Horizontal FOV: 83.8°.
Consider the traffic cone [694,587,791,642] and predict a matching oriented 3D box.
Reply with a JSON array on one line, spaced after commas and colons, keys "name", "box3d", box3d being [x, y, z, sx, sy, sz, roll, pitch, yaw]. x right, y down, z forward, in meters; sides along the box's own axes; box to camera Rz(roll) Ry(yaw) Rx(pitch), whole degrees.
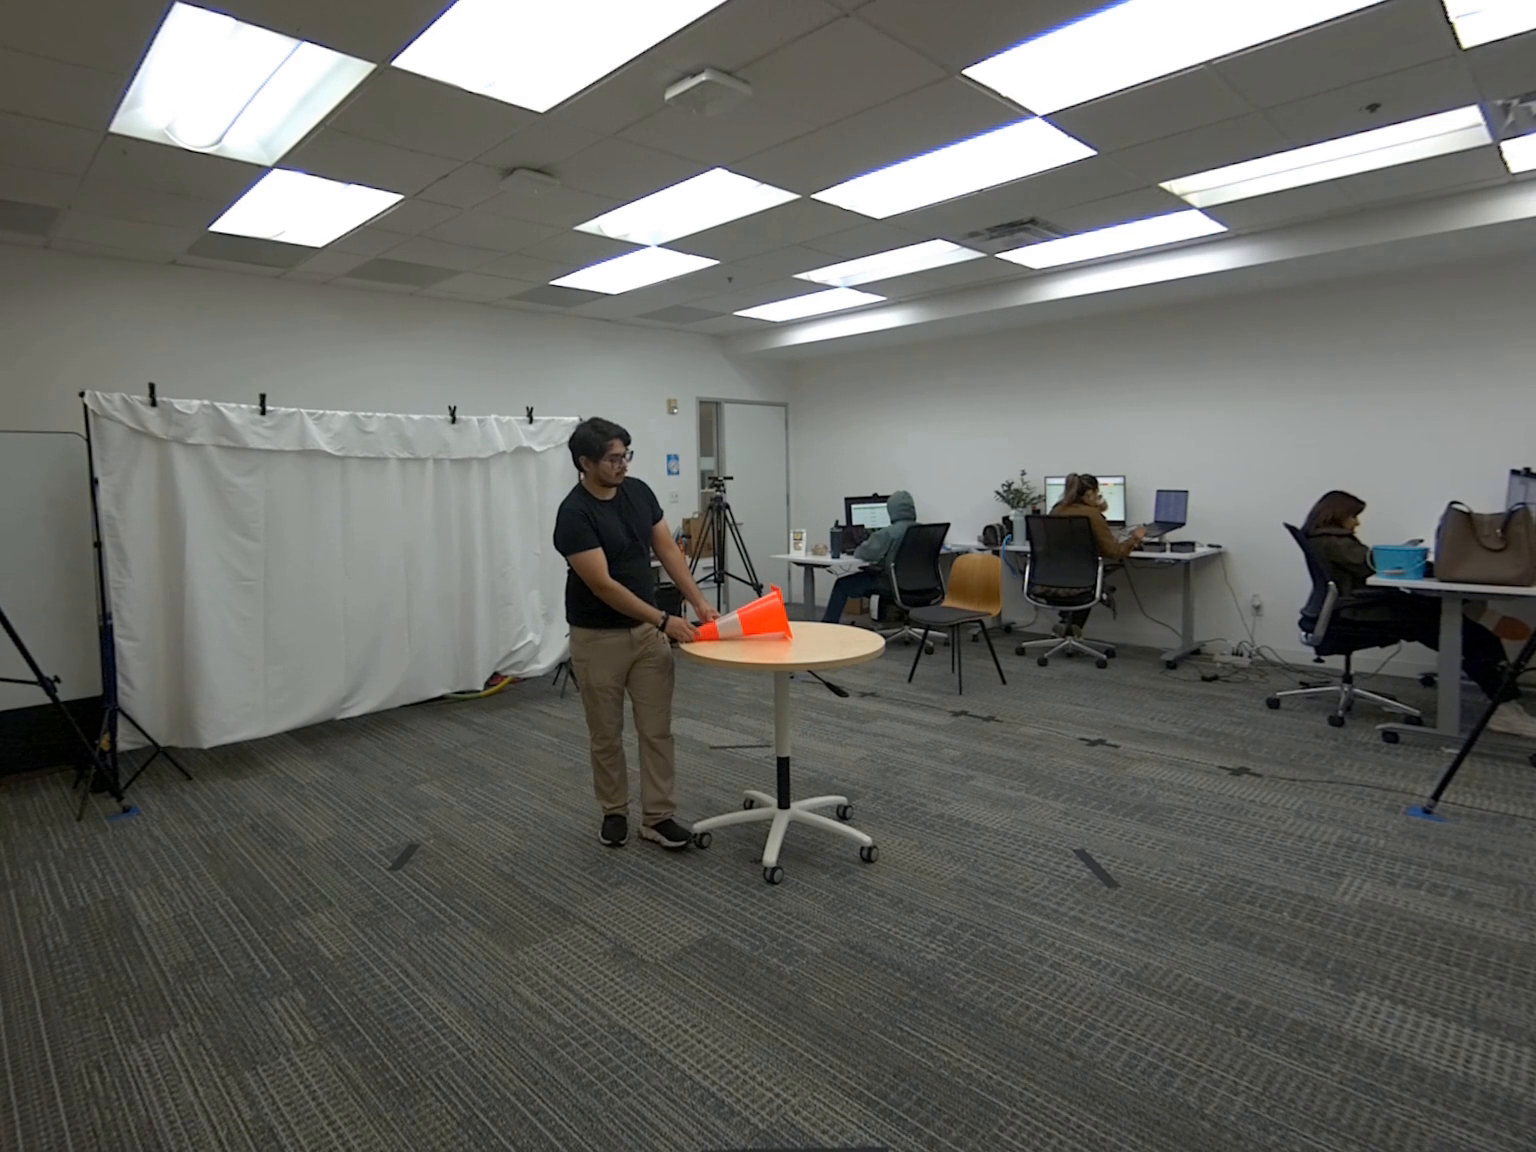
[{"name": "traffic cone", "box3d": [-0.132, 0.176, 3.227, 0.384, 0.207, 0.201, -11, -6, 2]}]
